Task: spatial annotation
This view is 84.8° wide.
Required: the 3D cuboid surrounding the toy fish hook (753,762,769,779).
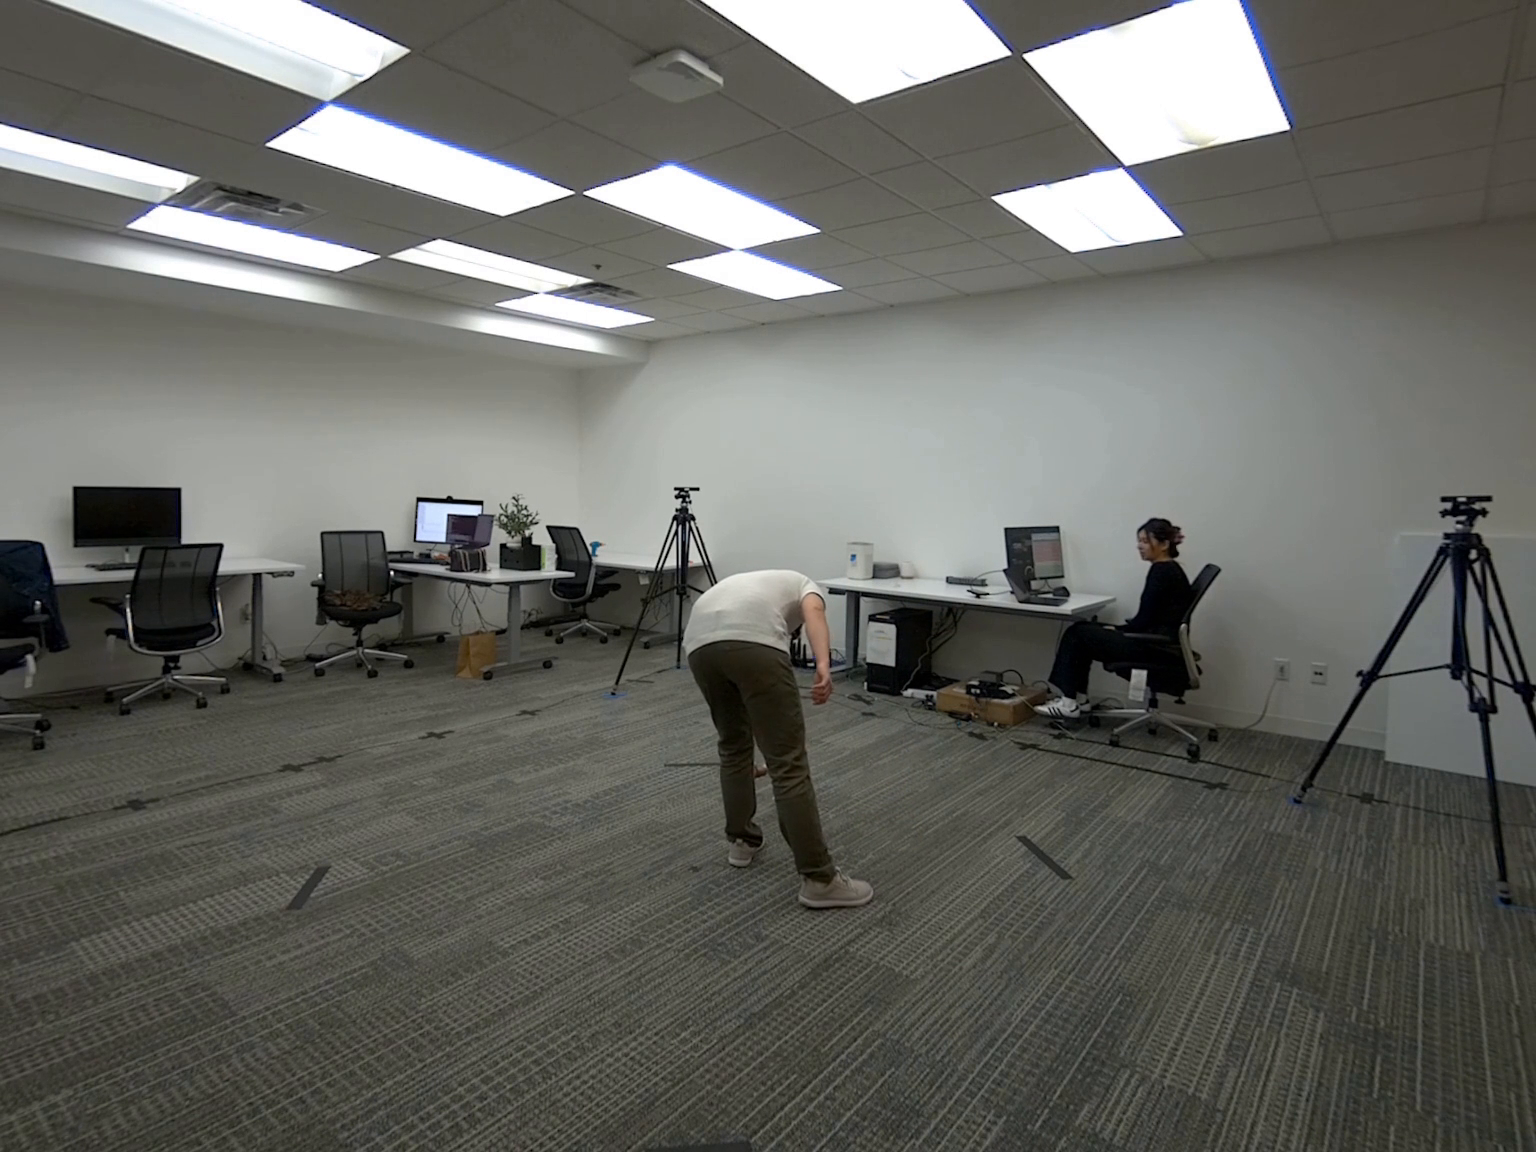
[{"bbox_3d":[-0.006,0.879,3.674,0.049,0.226,0.490,-5,-8,30],"label":"toy fish hook"}]
